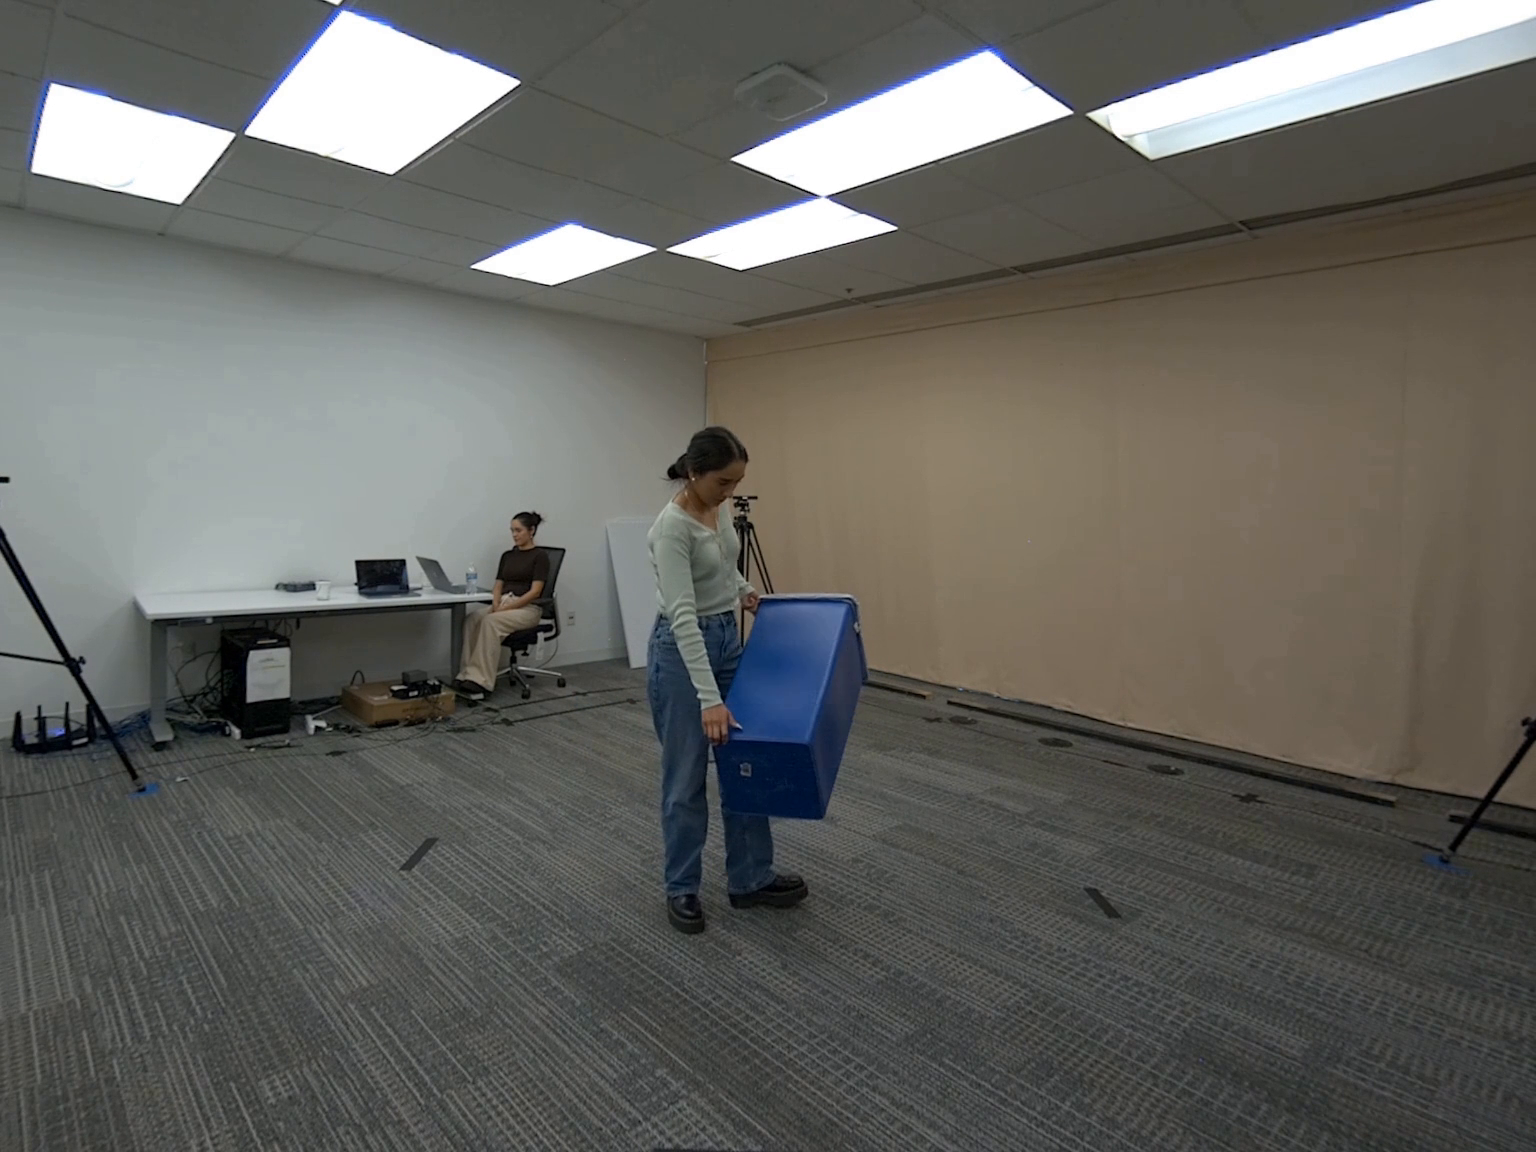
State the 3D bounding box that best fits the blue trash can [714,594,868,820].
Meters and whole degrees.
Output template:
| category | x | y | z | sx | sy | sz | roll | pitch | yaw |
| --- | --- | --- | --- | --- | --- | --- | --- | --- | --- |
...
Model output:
| category | x | y | z | sx | sy | sz | roll | pitch | yaw |
| --- | --- | --- | --- | --- | --- | --- | --- | --- | --- |
| blue trash can | 0.076 | 0.406 | 2.746 | 0.379 | 0.370 | 0.719 | -1 | 31 | 19 |
